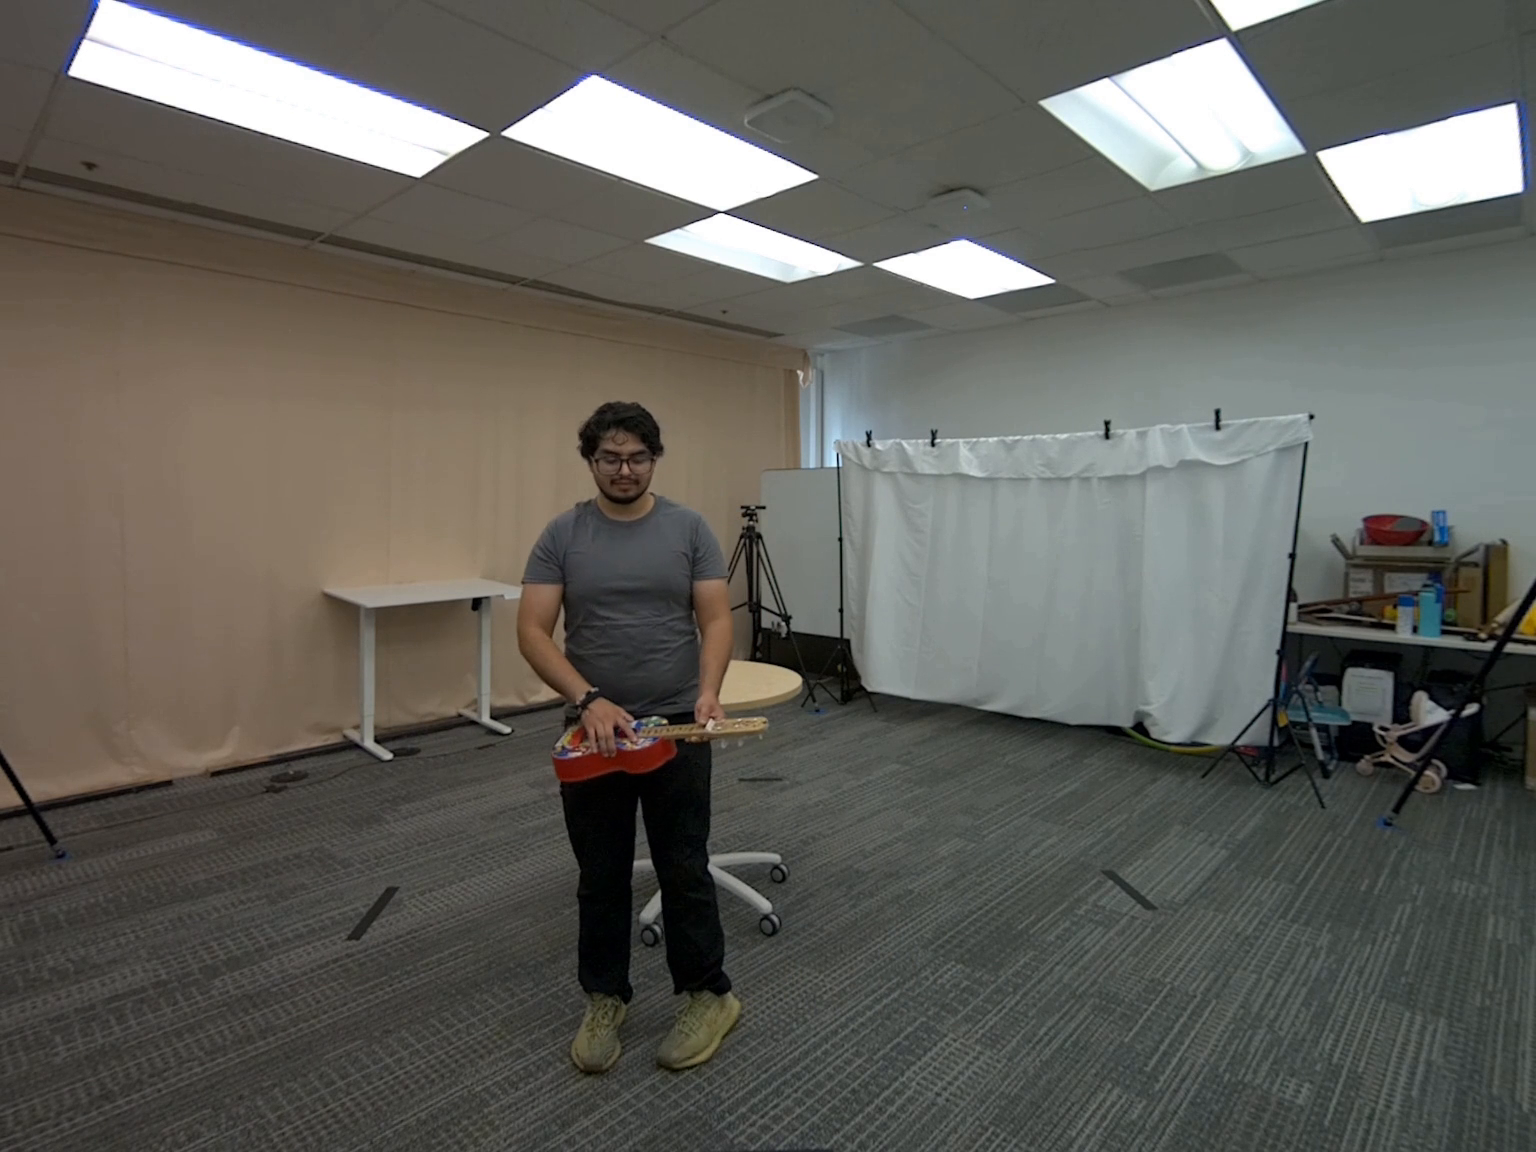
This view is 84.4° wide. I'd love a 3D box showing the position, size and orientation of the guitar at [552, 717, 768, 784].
[{"bbox_3d":[-0.254,0.378,1.847,0.510,0.070,0.191,-4,19,27],"label":"guitar"}]
